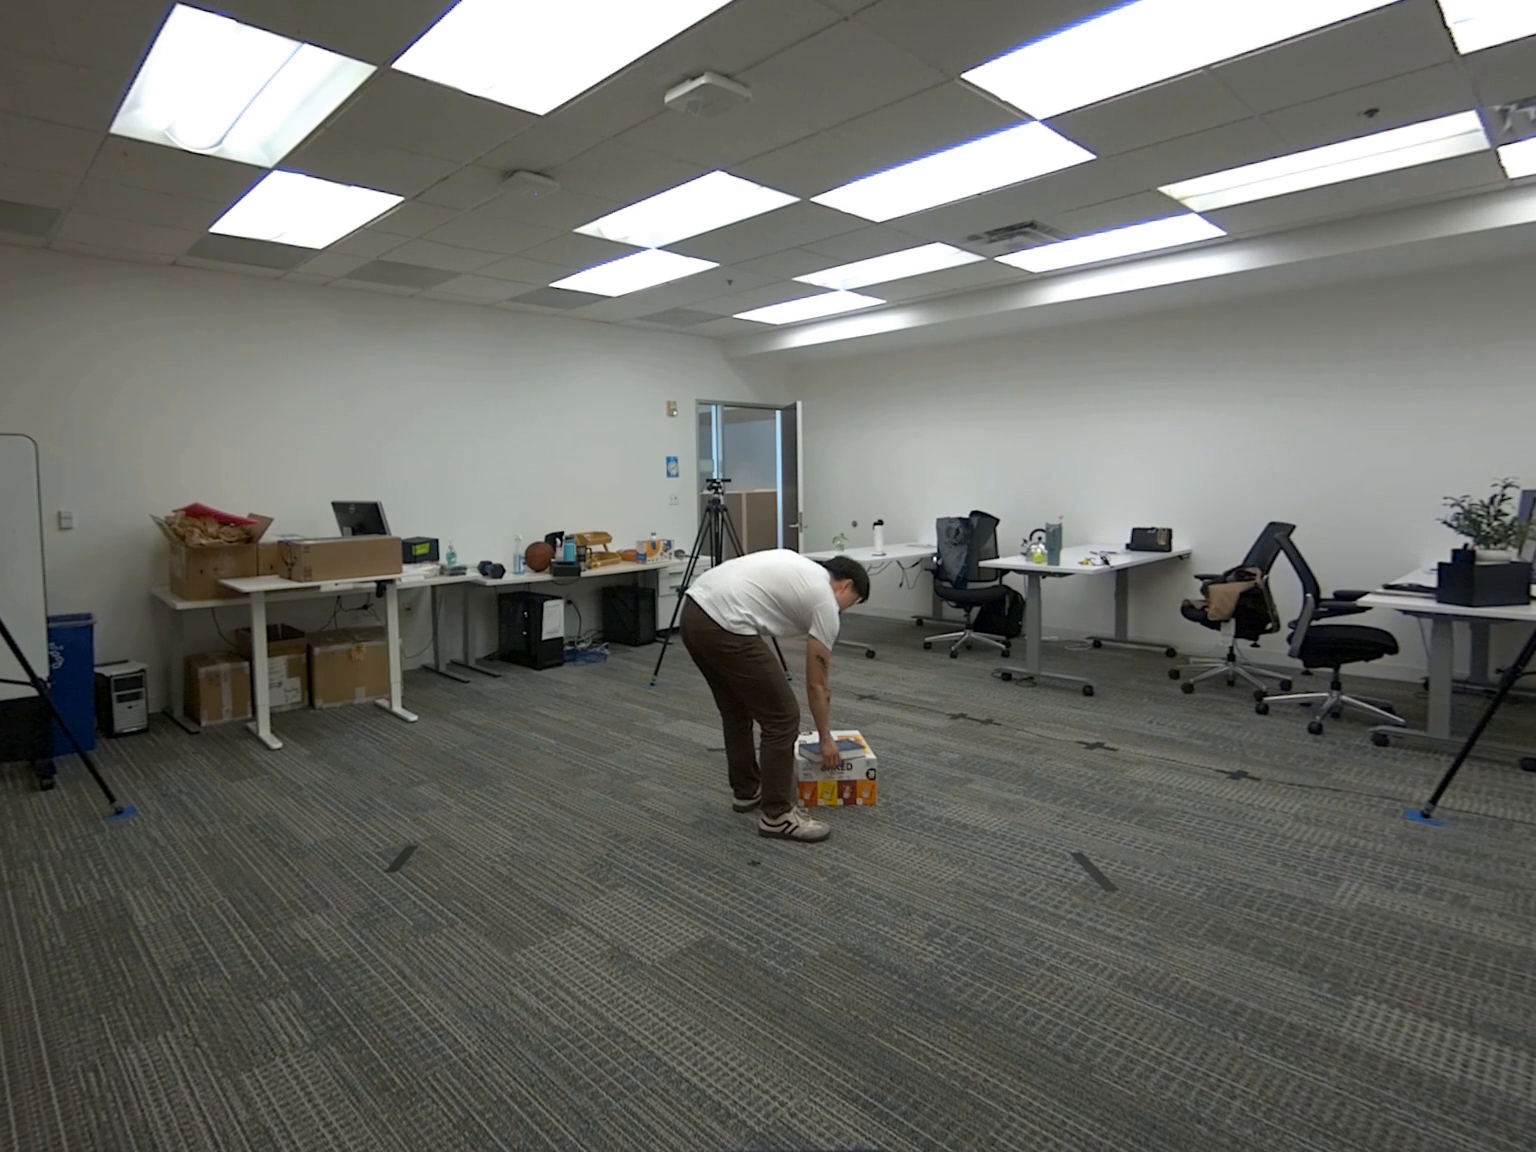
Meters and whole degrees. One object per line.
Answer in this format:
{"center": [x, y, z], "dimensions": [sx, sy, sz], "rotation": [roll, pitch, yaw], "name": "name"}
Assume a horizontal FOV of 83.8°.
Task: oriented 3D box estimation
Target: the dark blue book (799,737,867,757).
{"center": [0.279, 0.749, 3.688], "dimensions": [0.240, 0.045, 0.167], "rotation": [-3, 4, -21], "name": "dark blue book"}
